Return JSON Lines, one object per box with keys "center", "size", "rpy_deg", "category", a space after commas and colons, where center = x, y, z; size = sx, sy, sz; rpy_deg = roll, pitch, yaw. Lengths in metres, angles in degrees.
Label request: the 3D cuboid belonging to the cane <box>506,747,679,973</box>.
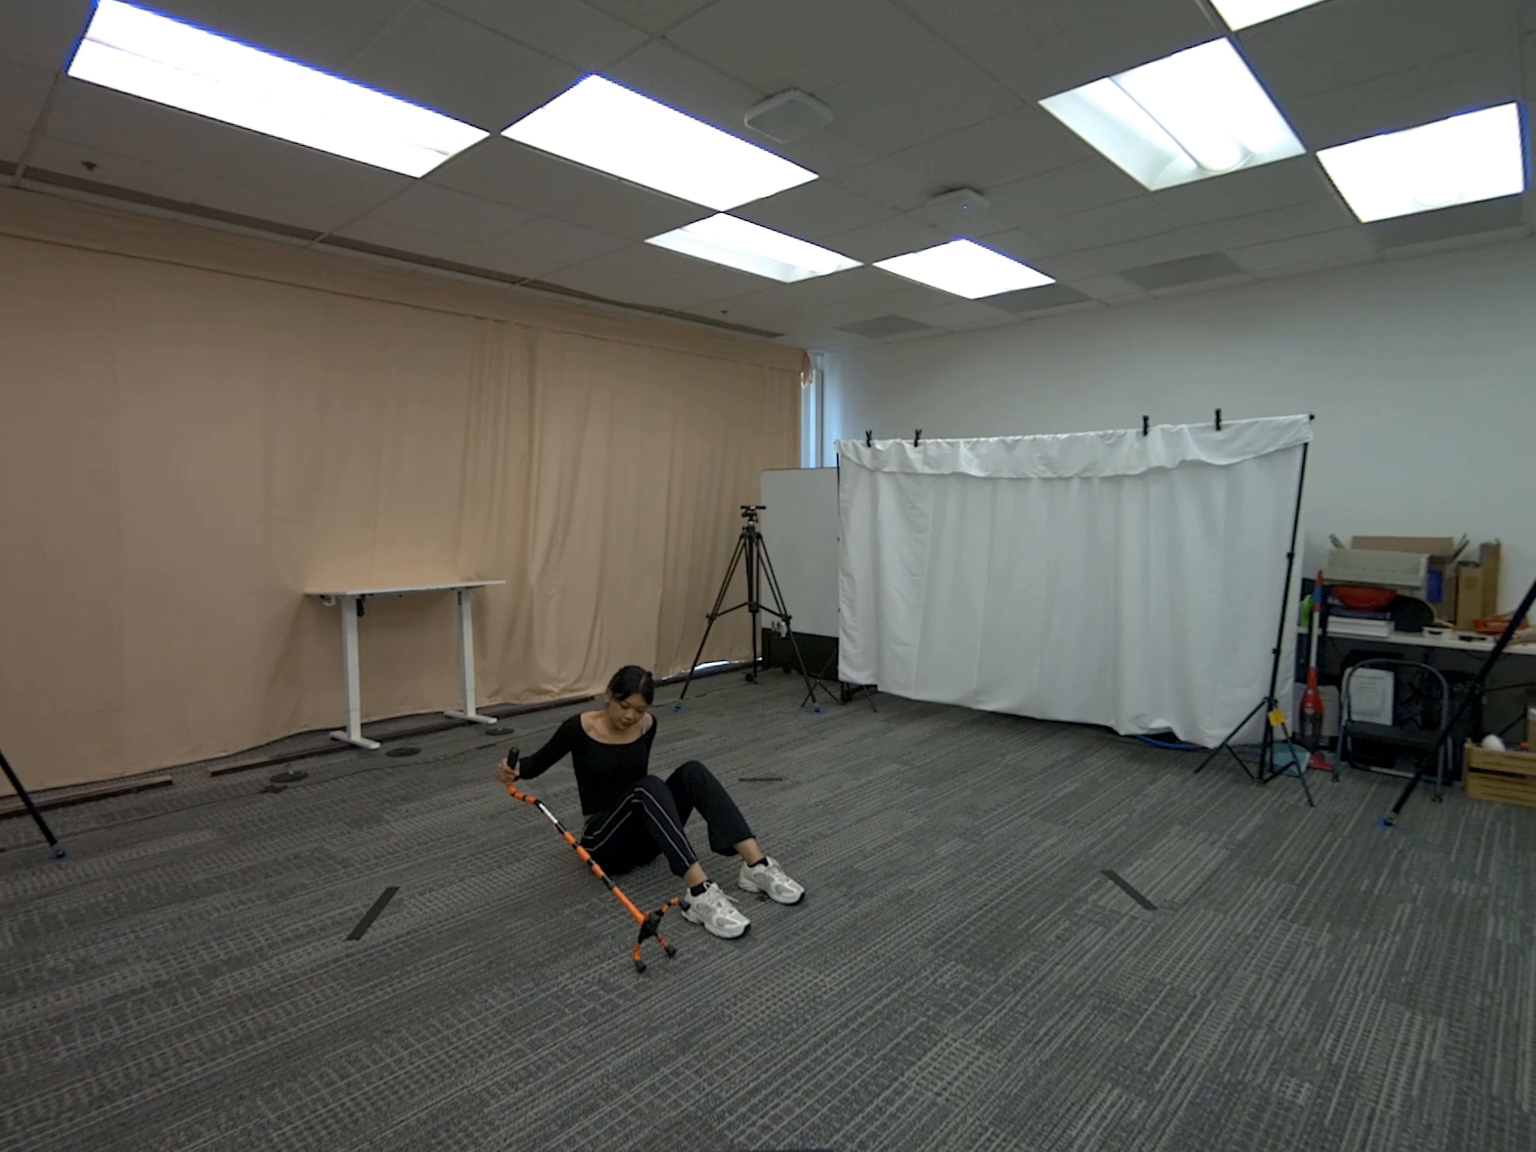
{"center": [-0.632, 0.893, 2.817], "size": [0.147, 0.205, 0.941], "rpy_deg": [-4, 26, -46], "category": "cane"}
